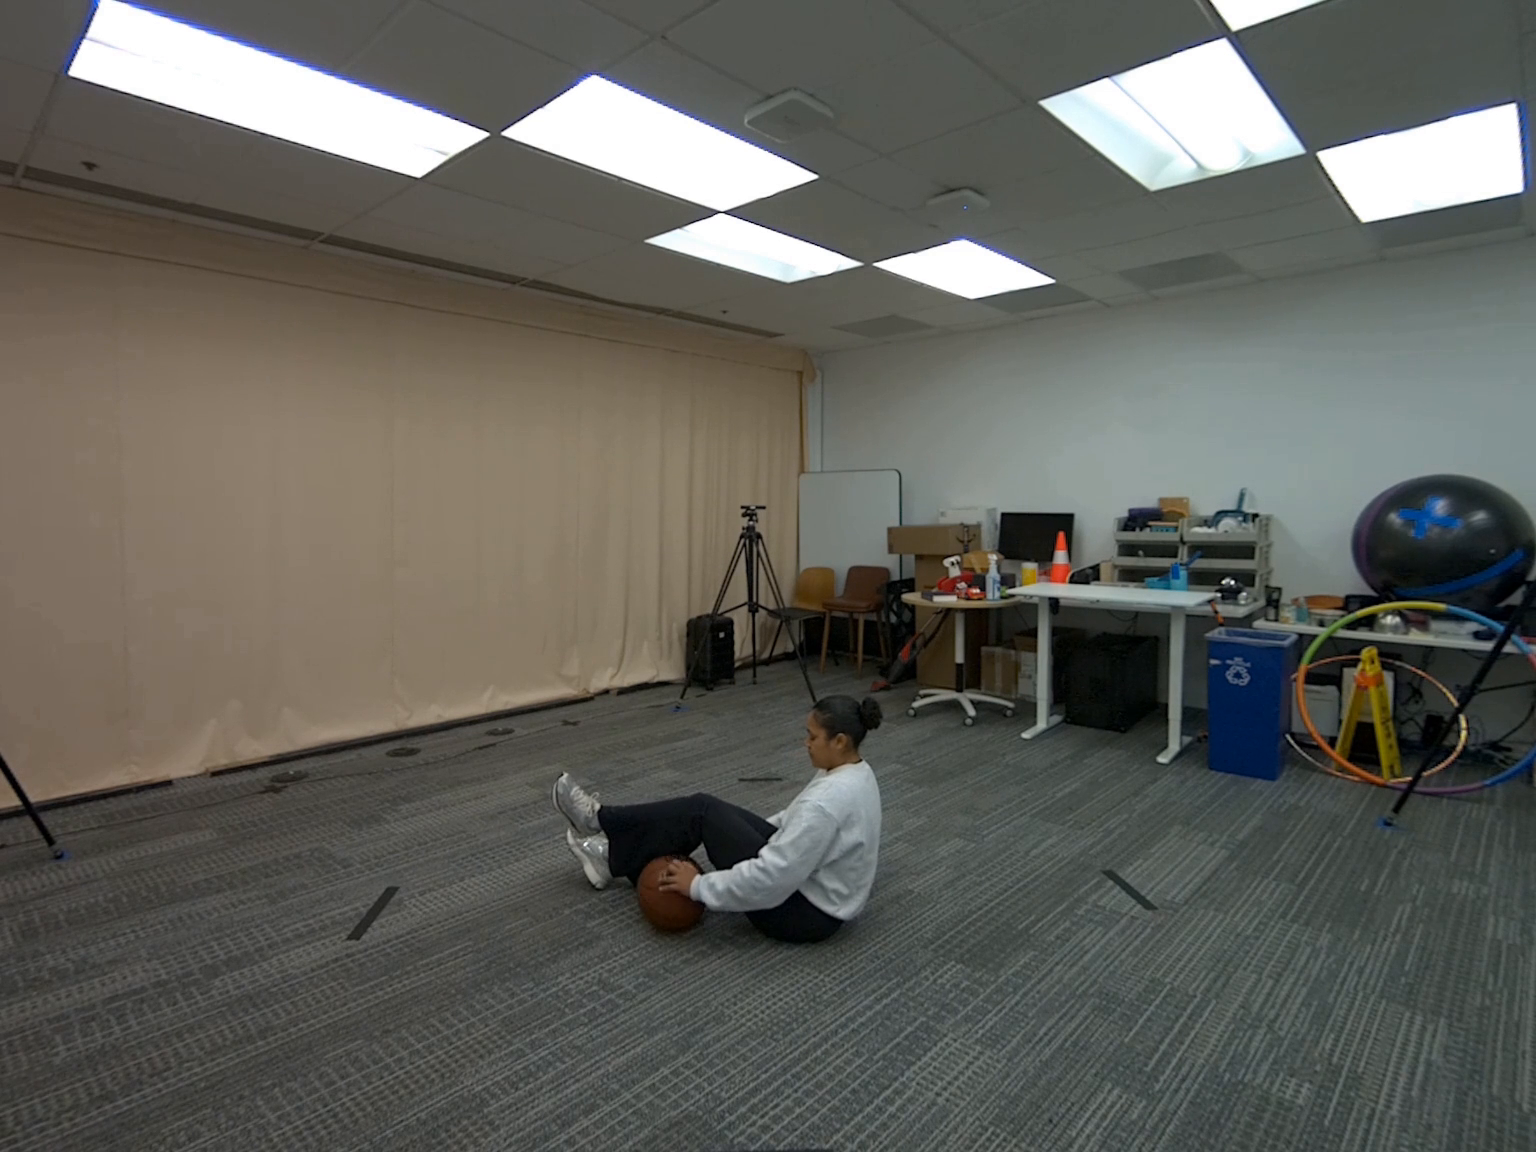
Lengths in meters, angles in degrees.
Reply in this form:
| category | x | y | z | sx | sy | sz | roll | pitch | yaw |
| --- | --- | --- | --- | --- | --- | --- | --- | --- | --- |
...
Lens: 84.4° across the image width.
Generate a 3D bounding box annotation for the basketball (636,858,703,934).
| category | x | y | z | sx | sy | sz | roll | pitch | yaw |
| --- | --- | --- | --- | --- | --- | --- | --- | --- | --- |
| basketball | -0.312 | 1.037 | 2.790 | 0.236 | 0.235 | 0.237 | 0 | 4 | -2 |
